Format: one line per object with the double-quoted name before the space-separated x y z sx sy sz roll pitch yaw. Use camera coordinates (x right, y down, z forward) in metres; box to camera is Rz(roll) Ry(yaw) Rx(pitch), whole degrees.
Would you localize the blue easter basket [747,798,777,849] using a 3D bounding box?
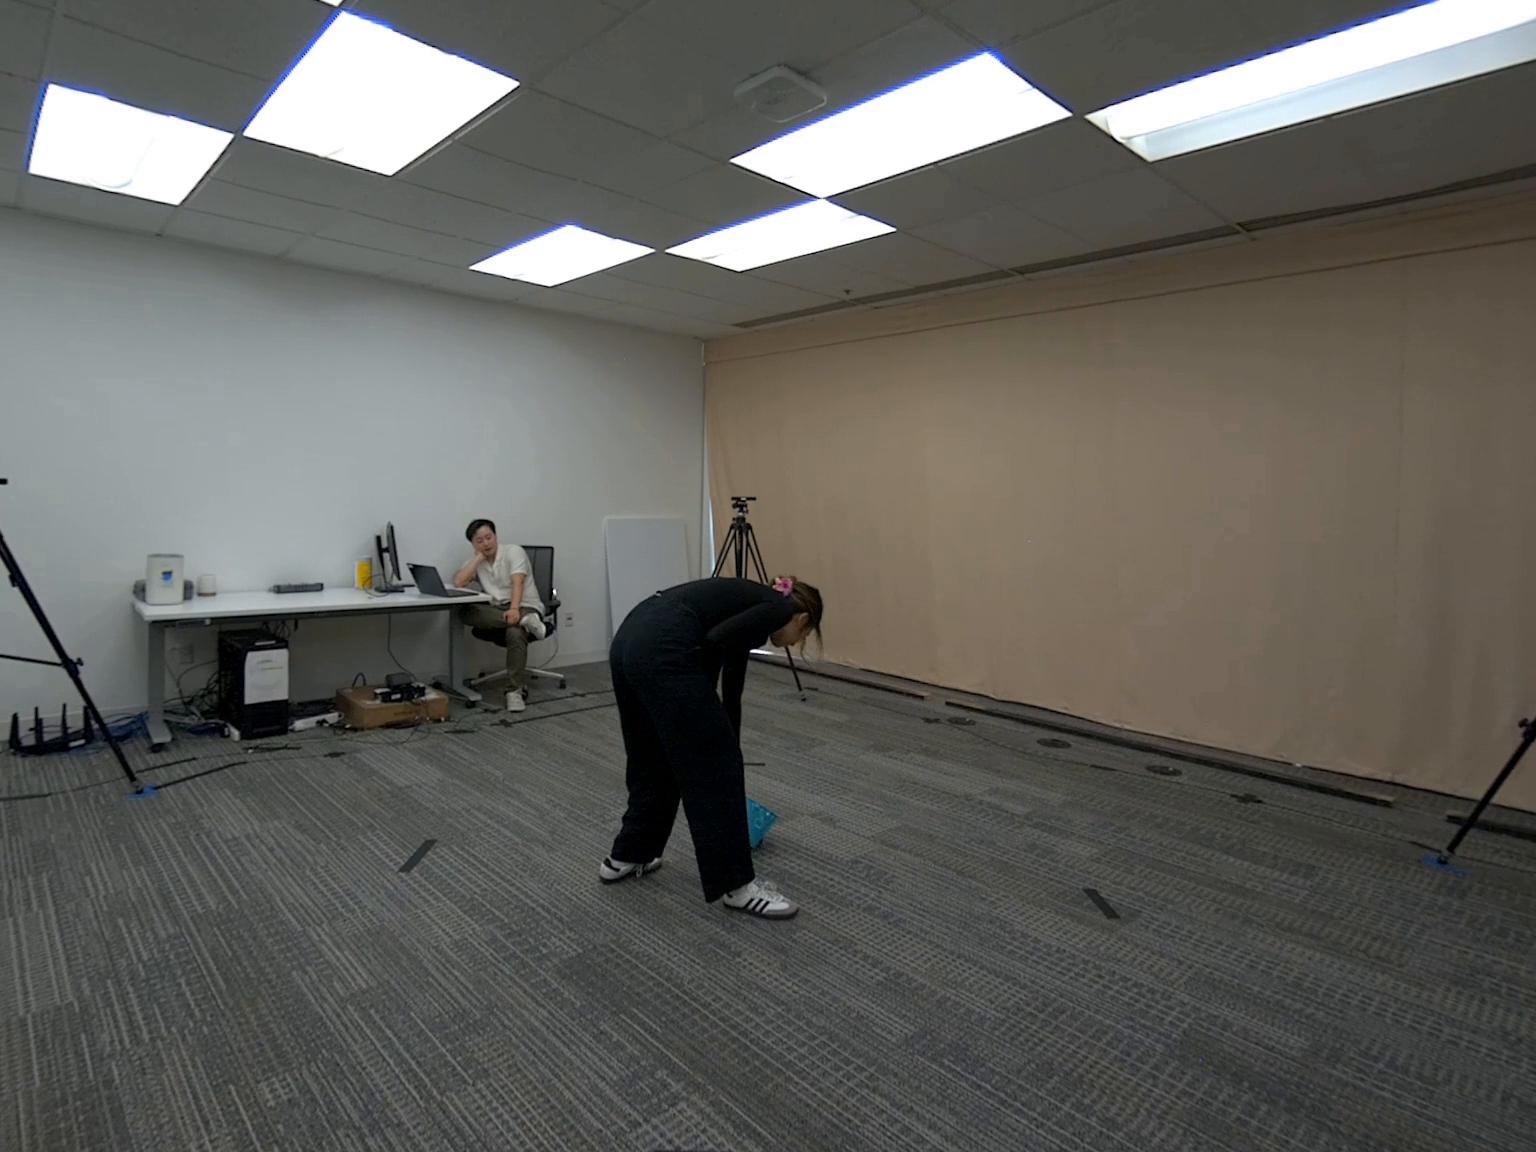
"blue easter basket" -0.099 0.975 3.374 0.246 0.156 0.241 29 -15 7
